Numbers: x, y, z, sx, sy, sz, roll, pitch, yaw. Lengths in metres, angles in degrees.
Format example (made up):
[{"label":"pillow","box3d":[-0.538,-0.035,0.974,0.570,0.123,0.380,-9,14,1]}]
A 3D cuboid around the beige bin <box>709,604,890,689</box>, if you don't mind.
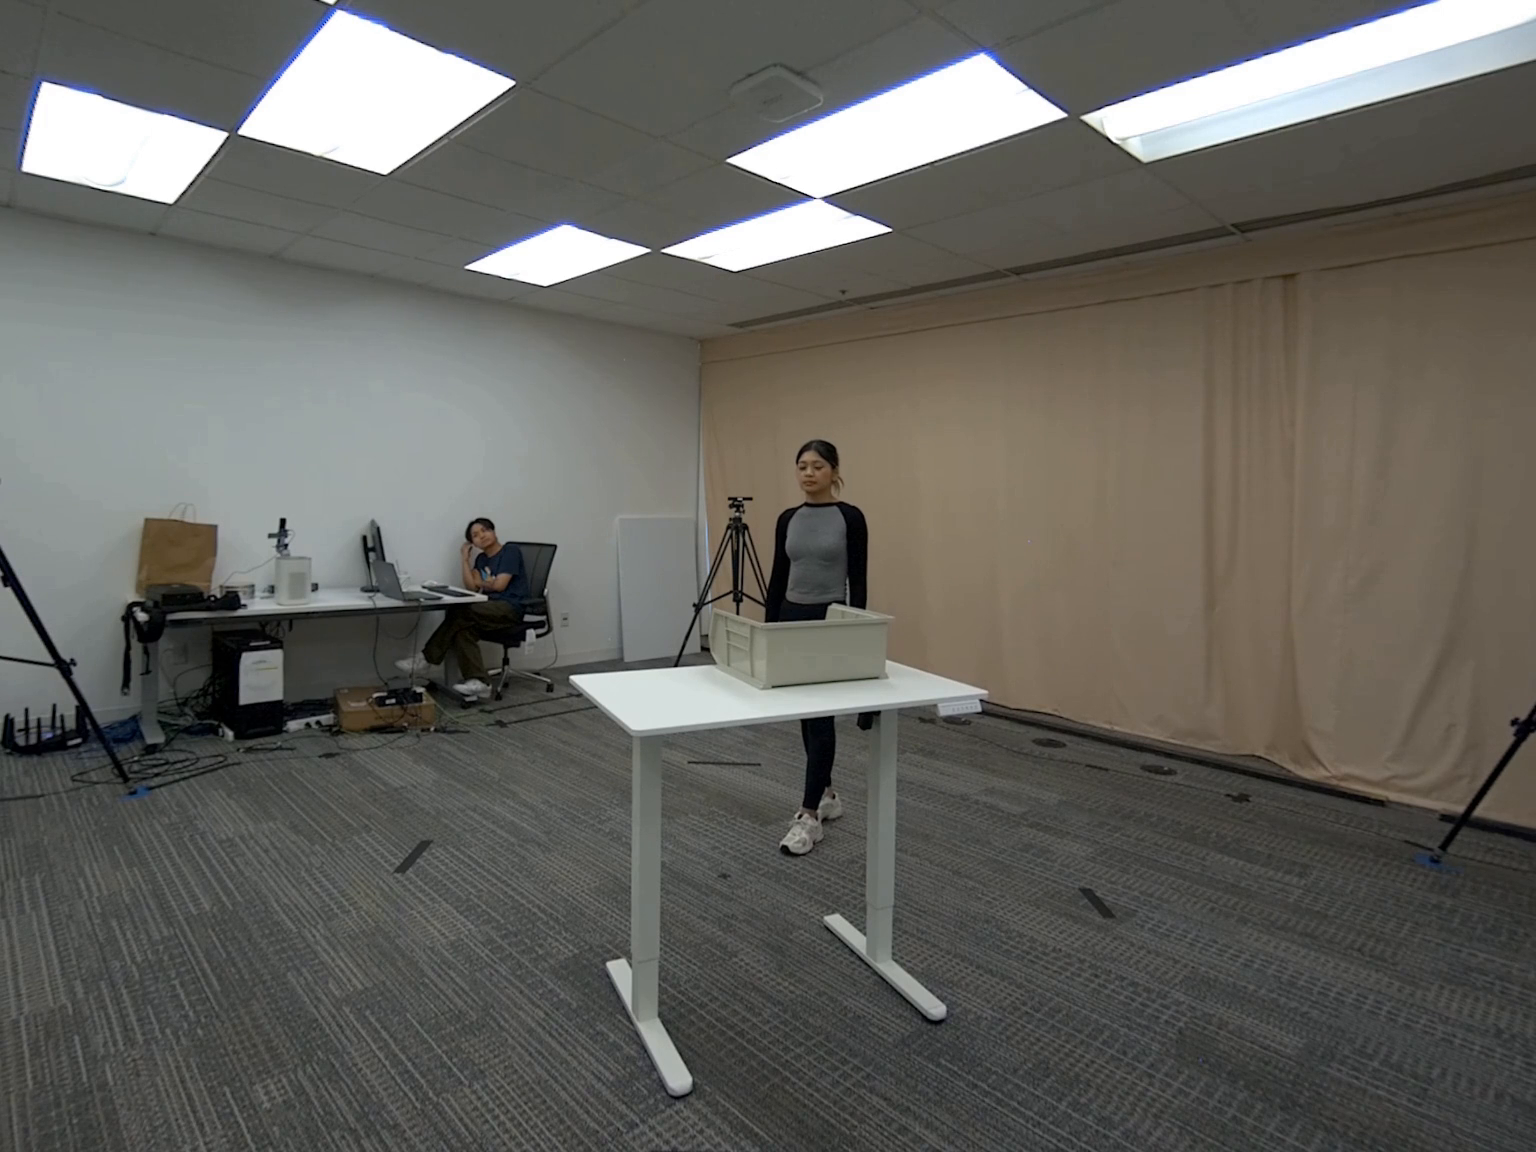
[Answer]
[{"label":"beige bin","box3d":[0.086,0.198,2.486,0.415,0.188,0.385,-1,6,-25]}]
